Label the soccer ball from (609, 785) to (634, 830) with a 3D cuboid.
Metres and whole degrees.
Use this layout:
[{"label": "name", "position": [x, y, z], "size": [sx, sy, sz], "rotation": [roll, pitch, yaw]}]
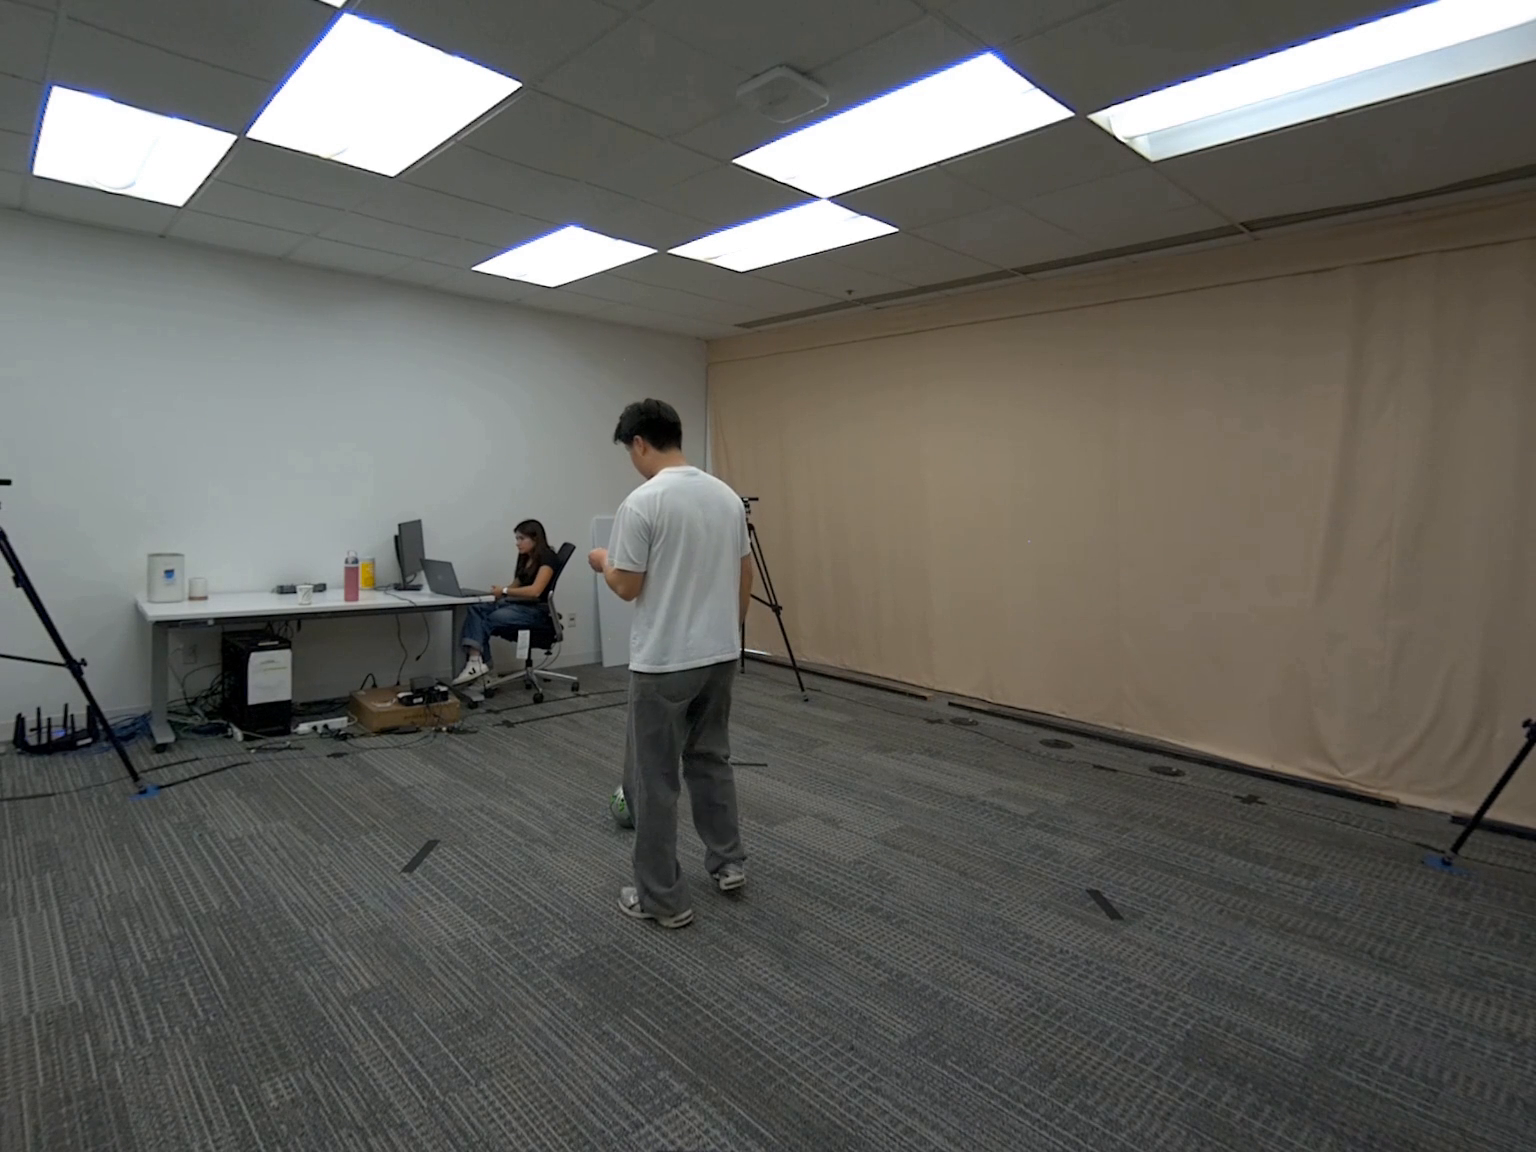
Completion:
[{"label": "soccer ball", "position": [-0.589, 0.973, 3.563], "size": [0.187, 0.187, 0.188], "rotation": [1, 4, -1]}]
